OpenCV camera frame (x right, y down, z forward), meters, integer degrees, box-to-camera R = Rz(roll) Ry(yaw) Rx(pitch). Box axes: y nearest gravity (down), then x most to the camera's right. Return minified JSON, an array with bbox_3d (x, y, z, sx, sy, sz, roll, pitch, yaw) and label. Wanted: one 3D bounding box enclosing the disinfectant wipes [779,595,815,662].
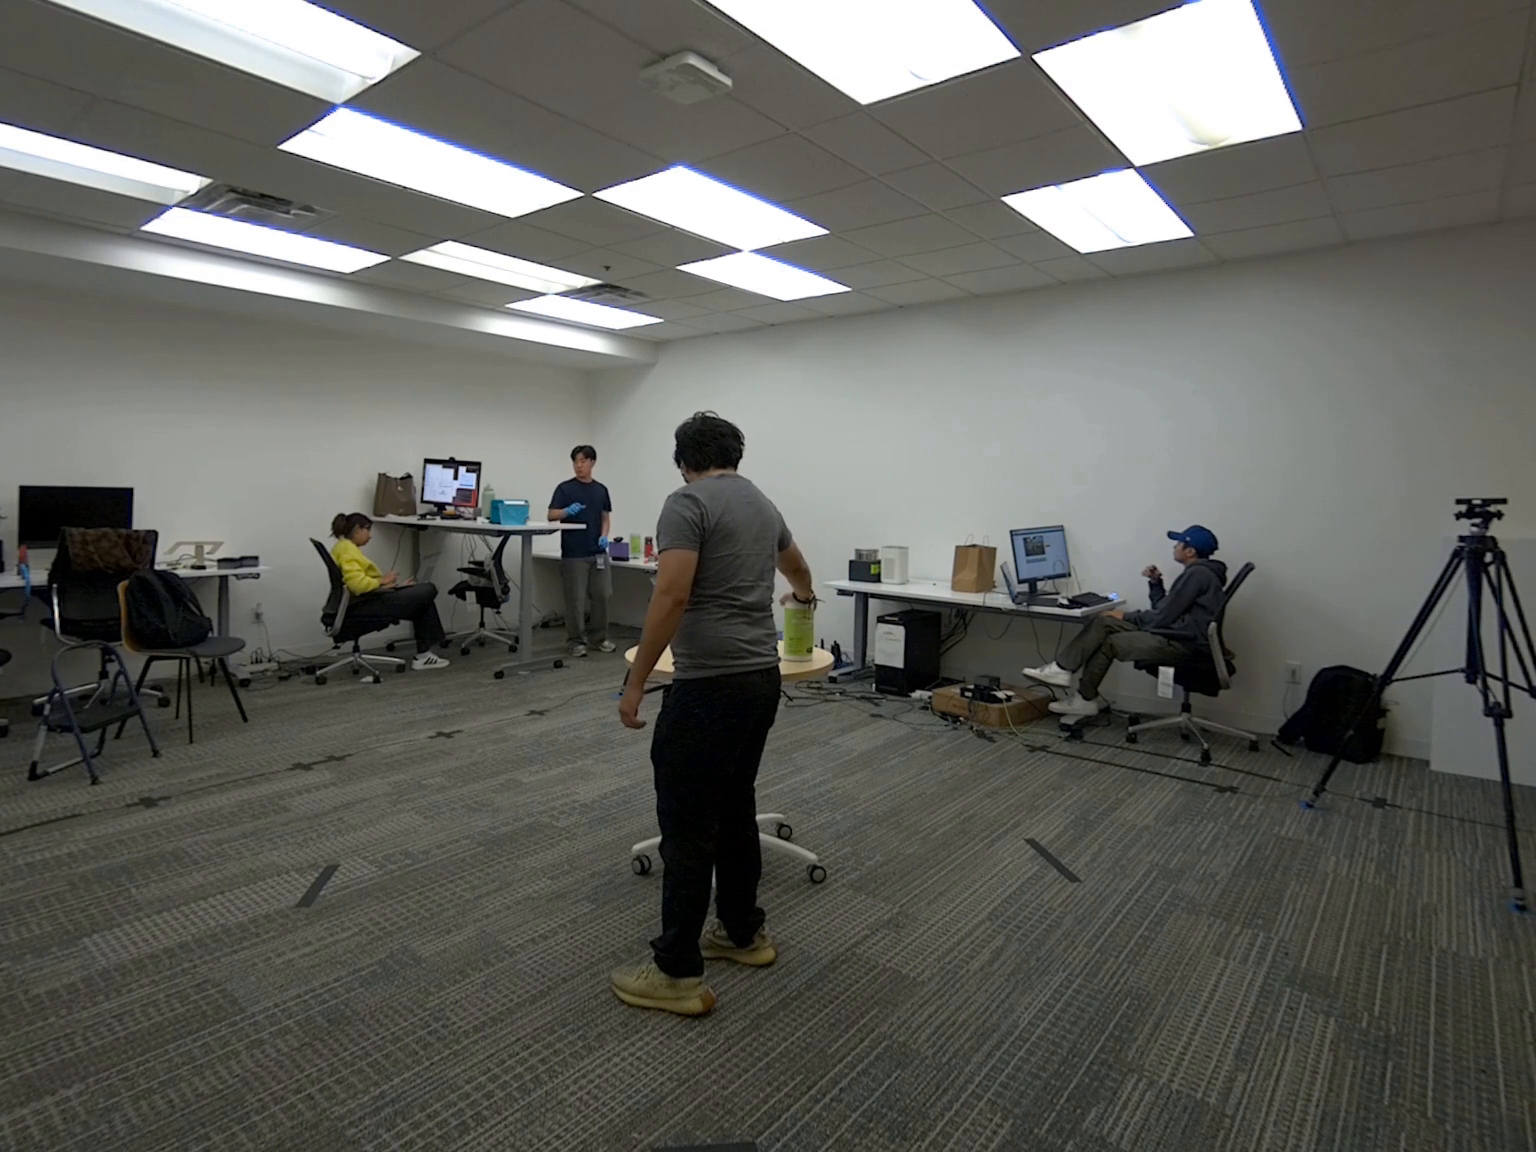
[{"bbox_3d":[0.088,0.189,3.052,0.117,0.216,0.118,1,5,-2],"label":"disinfectant wipes"}]
